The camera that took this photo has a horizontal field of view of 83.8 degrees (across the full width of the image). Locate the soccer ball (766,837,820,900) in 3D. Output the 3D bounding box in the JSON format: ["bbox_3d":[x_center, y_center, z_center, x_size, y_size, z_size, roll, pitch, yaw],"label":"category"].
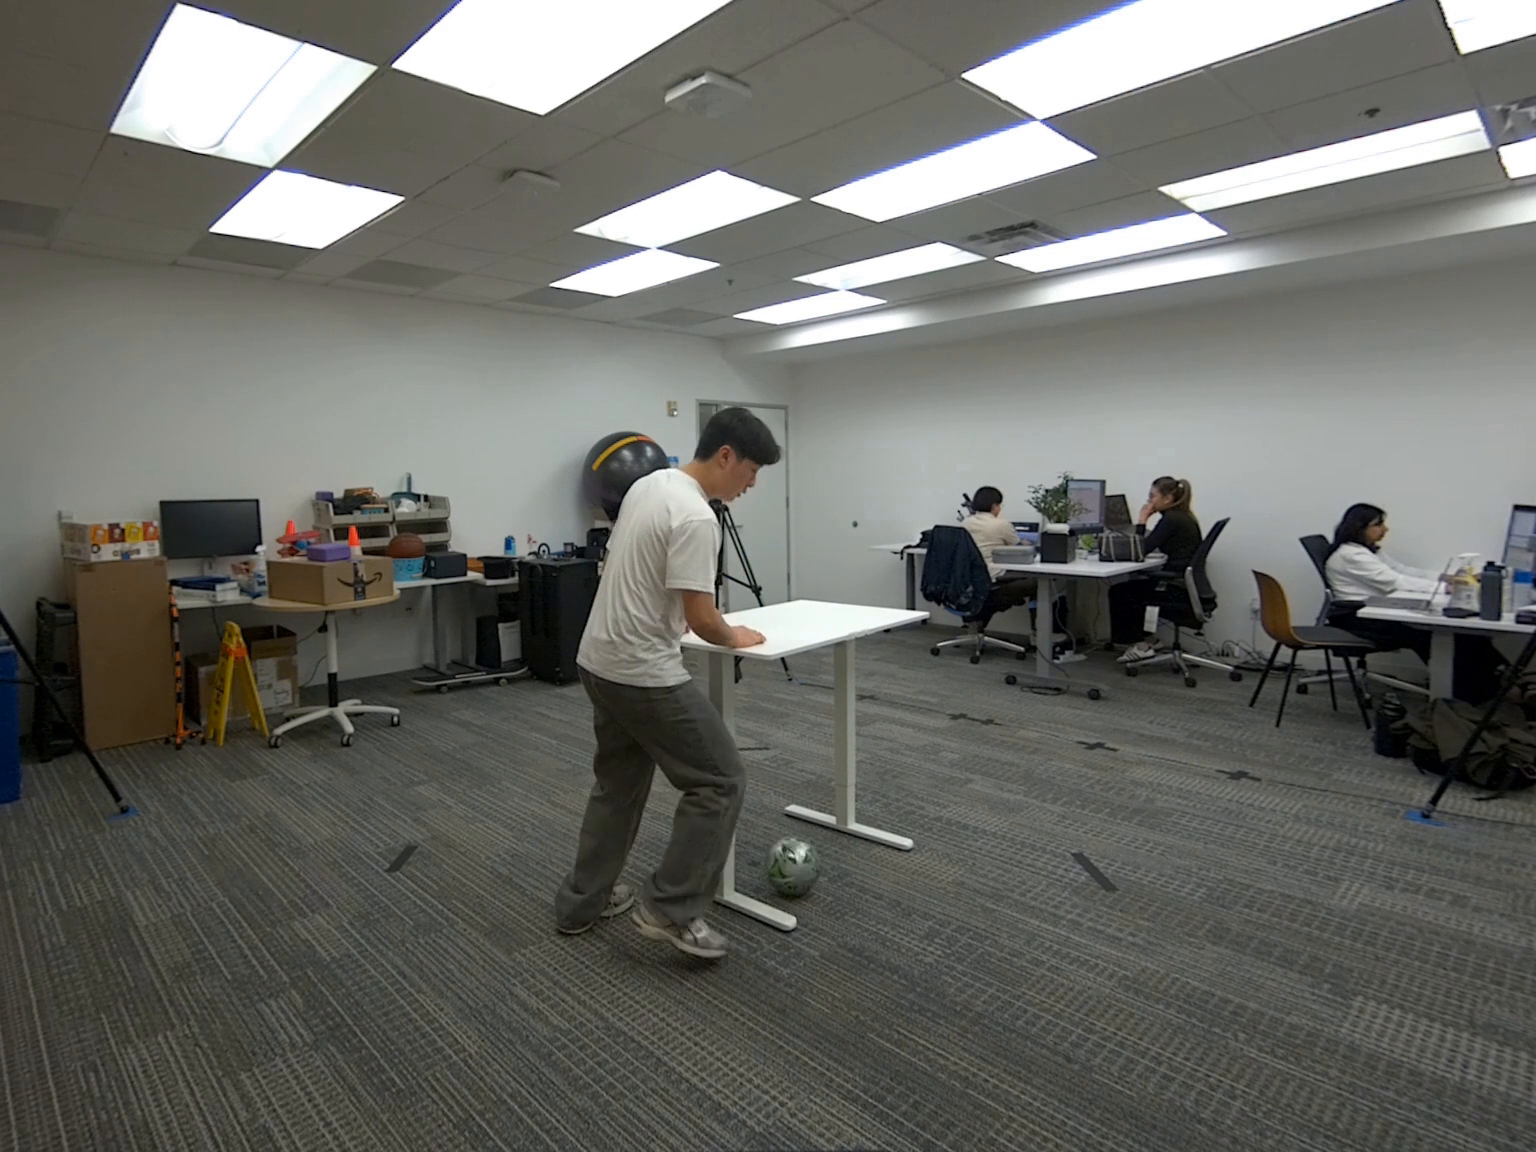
[{"bbox_3d":[0.089,0.975,2.879,0.187,0.187,0.188,-1,5,-2],"label":"soccer ball"}]
